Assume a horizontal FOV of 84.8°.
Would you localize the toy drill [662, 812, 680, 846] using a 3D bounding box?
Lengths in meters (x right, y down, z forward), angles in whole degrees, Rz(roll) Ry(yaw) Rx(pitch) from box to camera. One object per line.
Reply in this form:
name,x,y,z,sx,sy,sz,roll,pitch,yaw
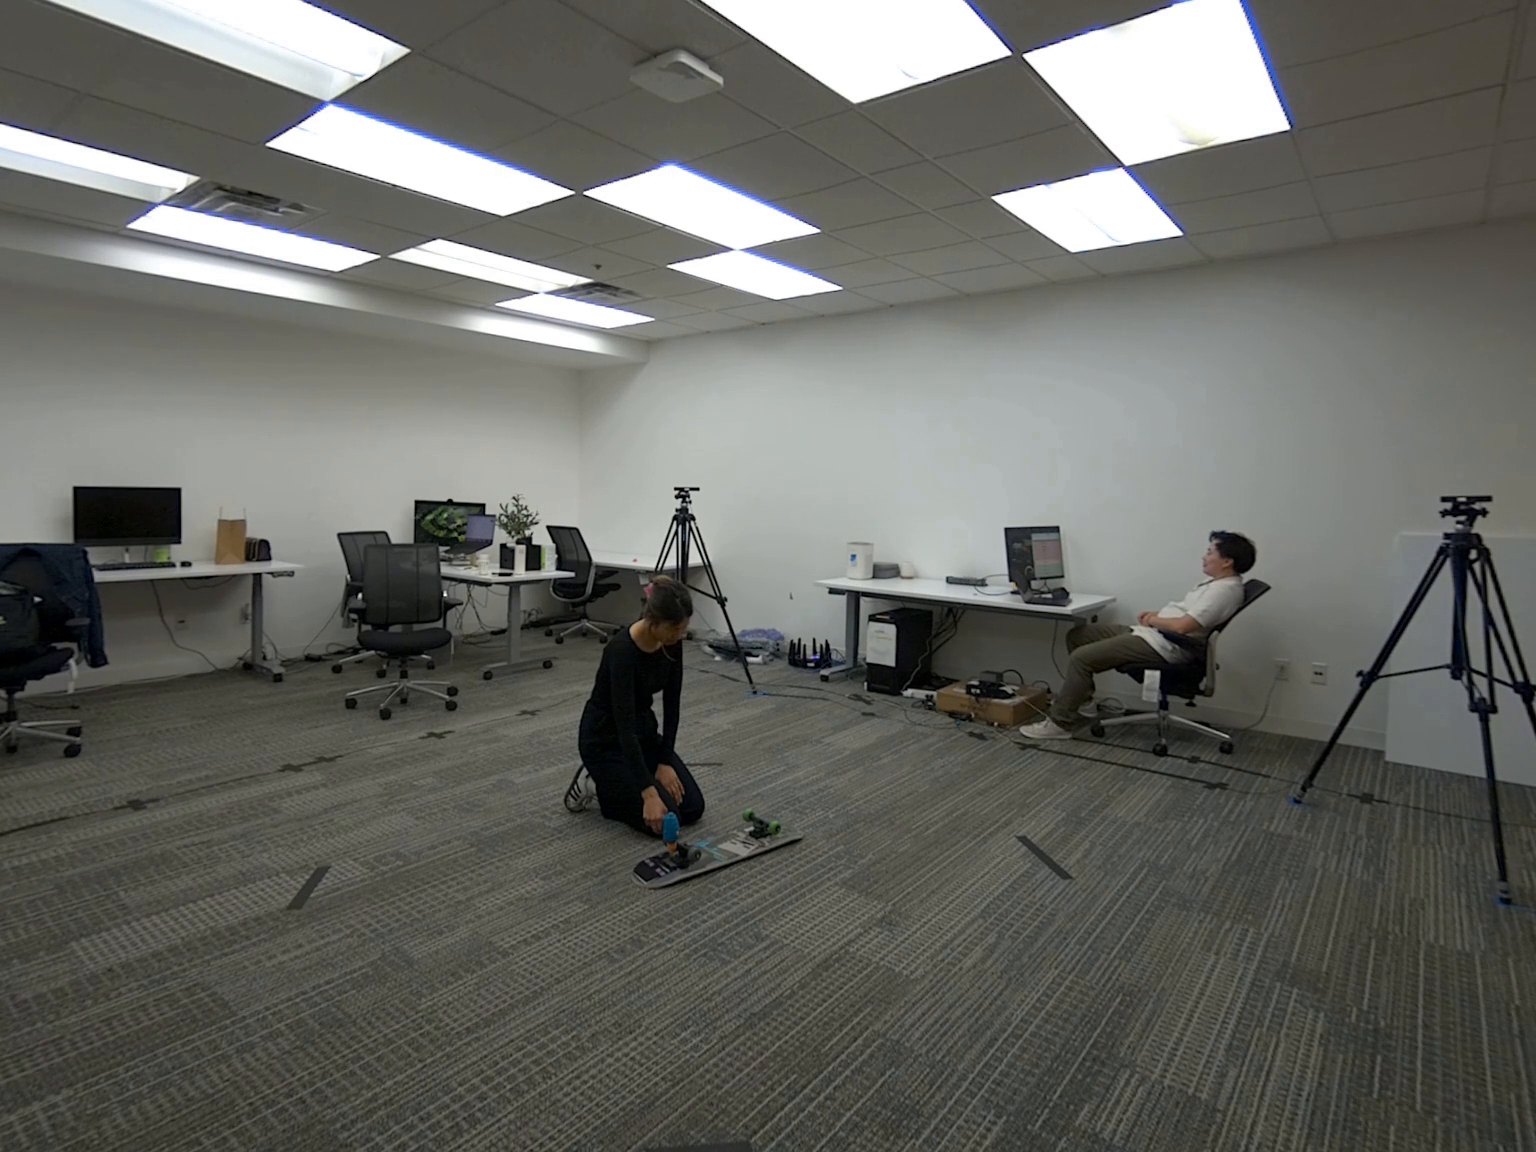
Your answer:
toy drill,-0.398,0.938,3.094,0.151,0.168,0.060,7,12,33
